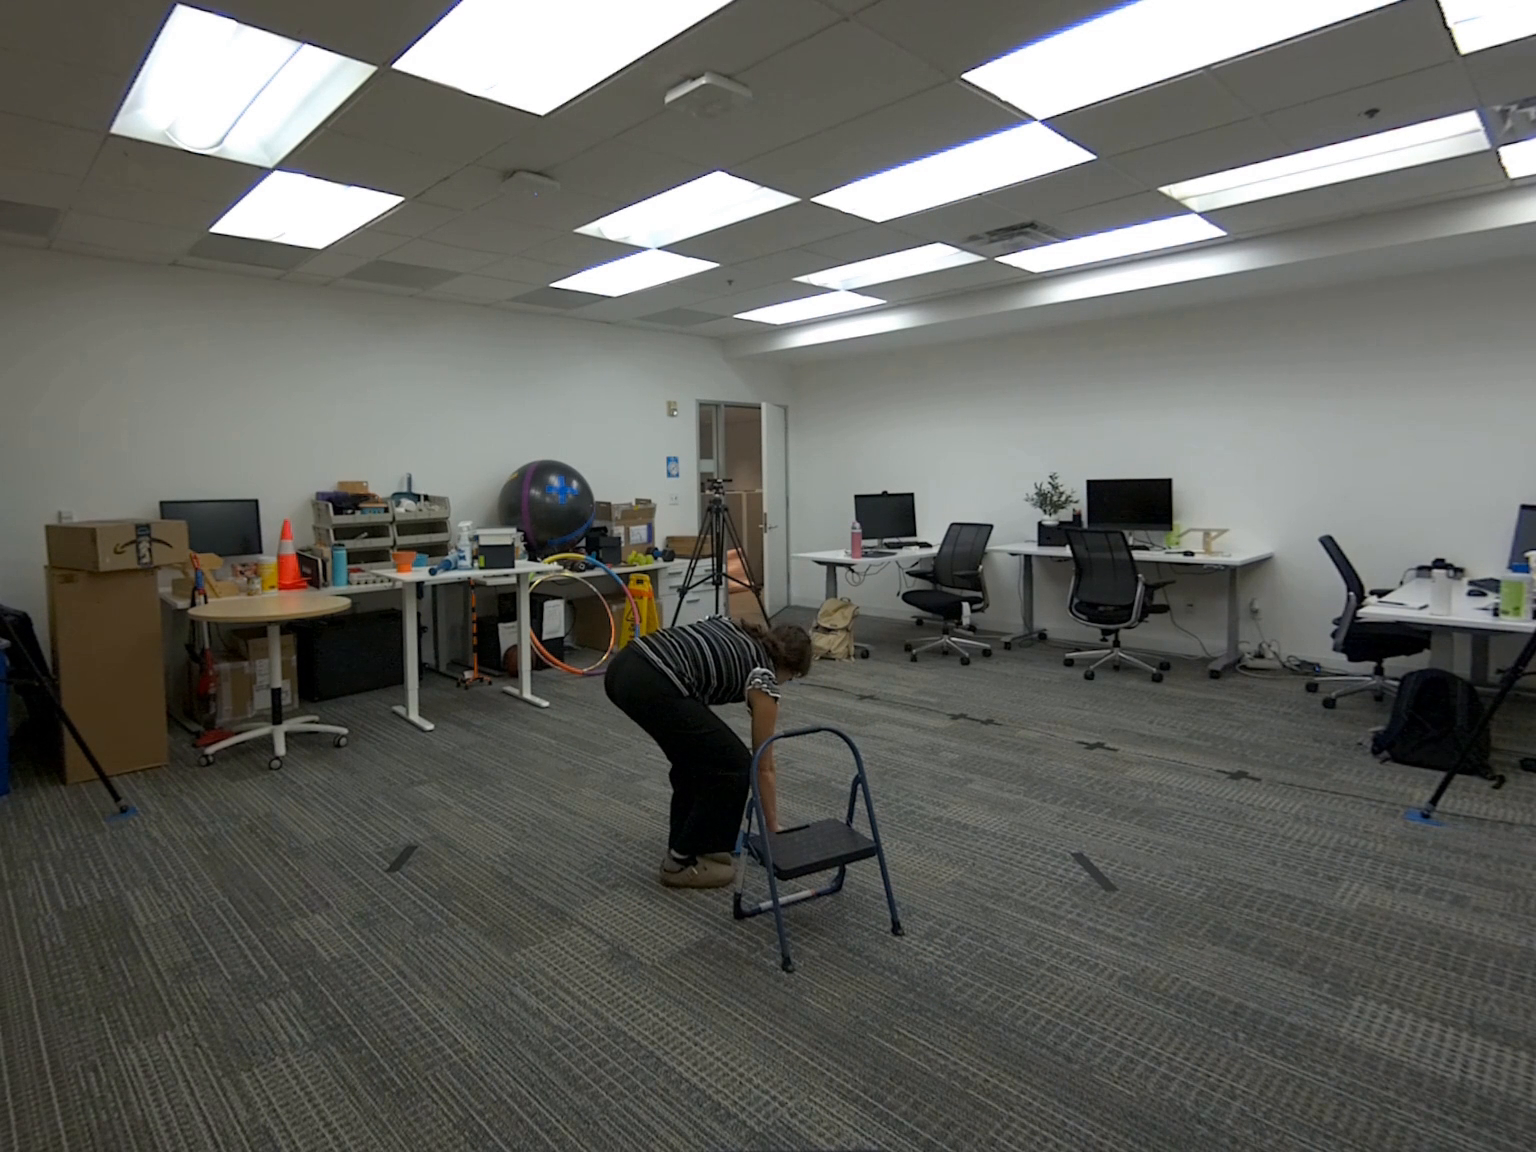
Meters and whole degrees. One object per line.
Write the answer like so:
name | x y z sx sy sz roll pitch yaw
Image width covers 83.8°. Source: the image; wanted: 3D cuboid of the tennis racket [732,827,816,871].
tennis racket | -0.066 1.016 3.236 0.443 0.031 0.209 0 5 28
